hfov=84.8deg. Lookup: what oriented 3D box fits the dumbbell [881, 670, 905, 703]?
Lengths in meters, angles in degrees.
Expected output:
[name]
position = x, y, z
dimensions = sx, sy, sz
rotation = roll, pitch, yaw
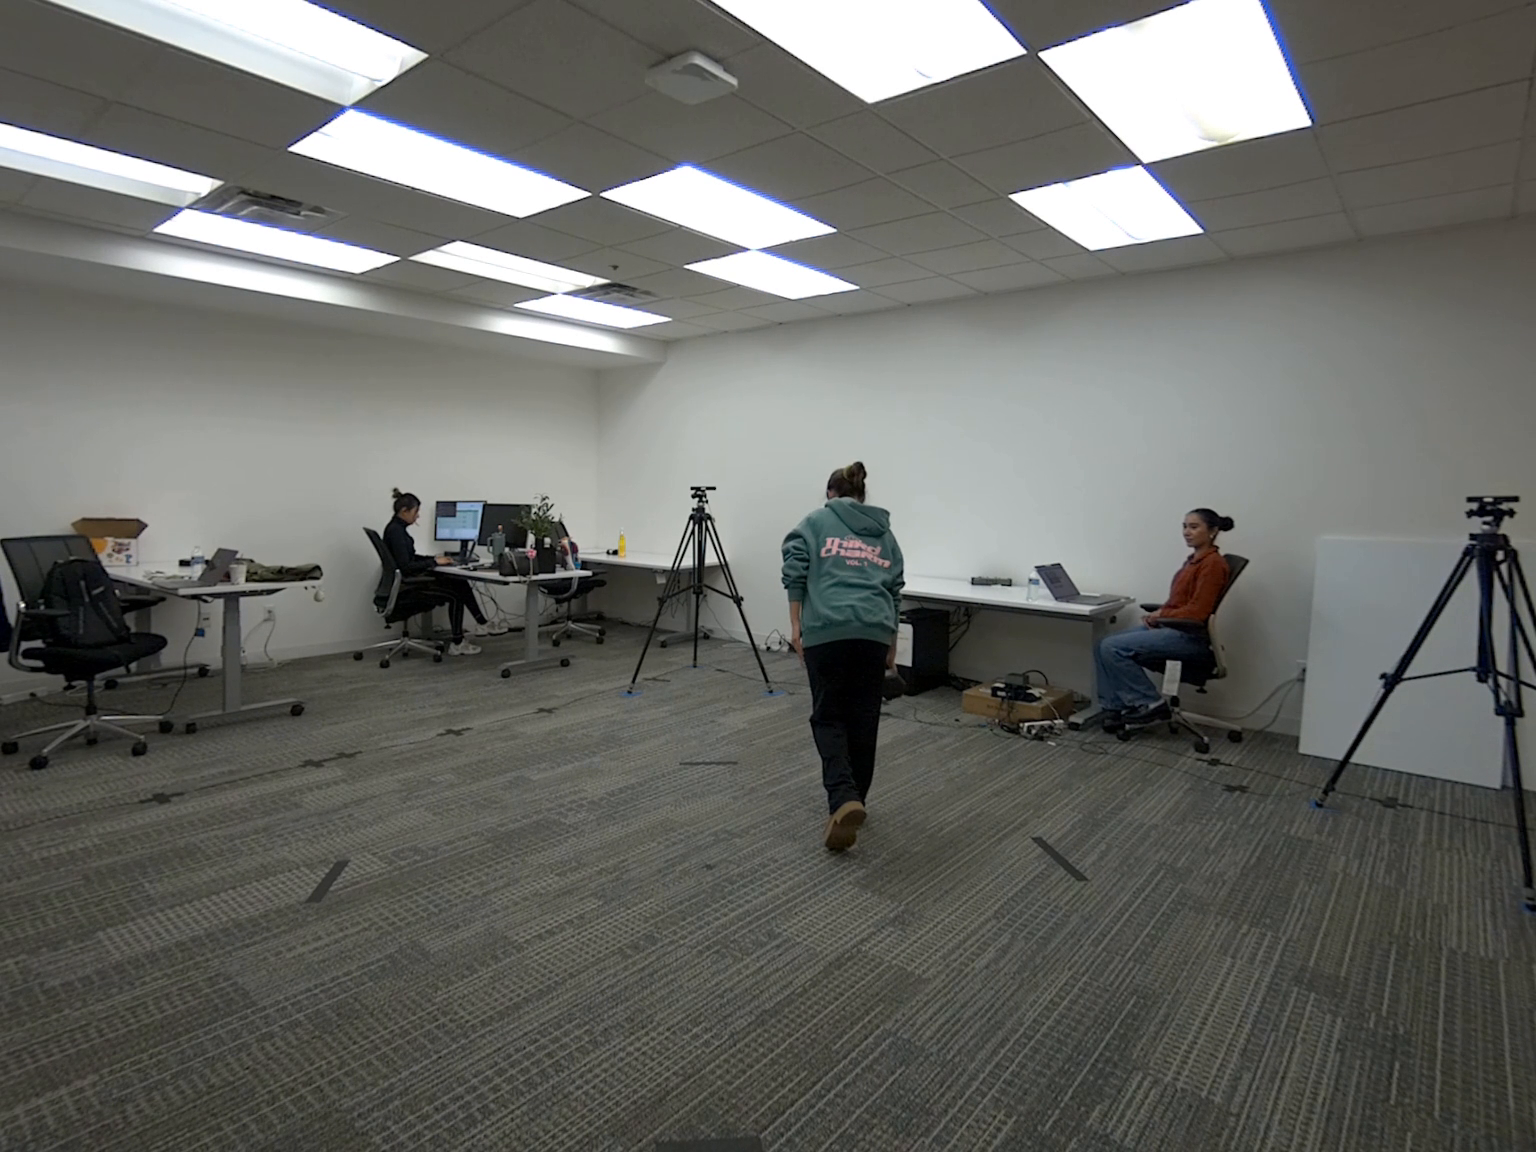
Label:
[dumbbell]
position = 0.491, 0.429, 3.665
dimensions = 0.107, 0.122, 0.298
rotation = 17, 11, -10
